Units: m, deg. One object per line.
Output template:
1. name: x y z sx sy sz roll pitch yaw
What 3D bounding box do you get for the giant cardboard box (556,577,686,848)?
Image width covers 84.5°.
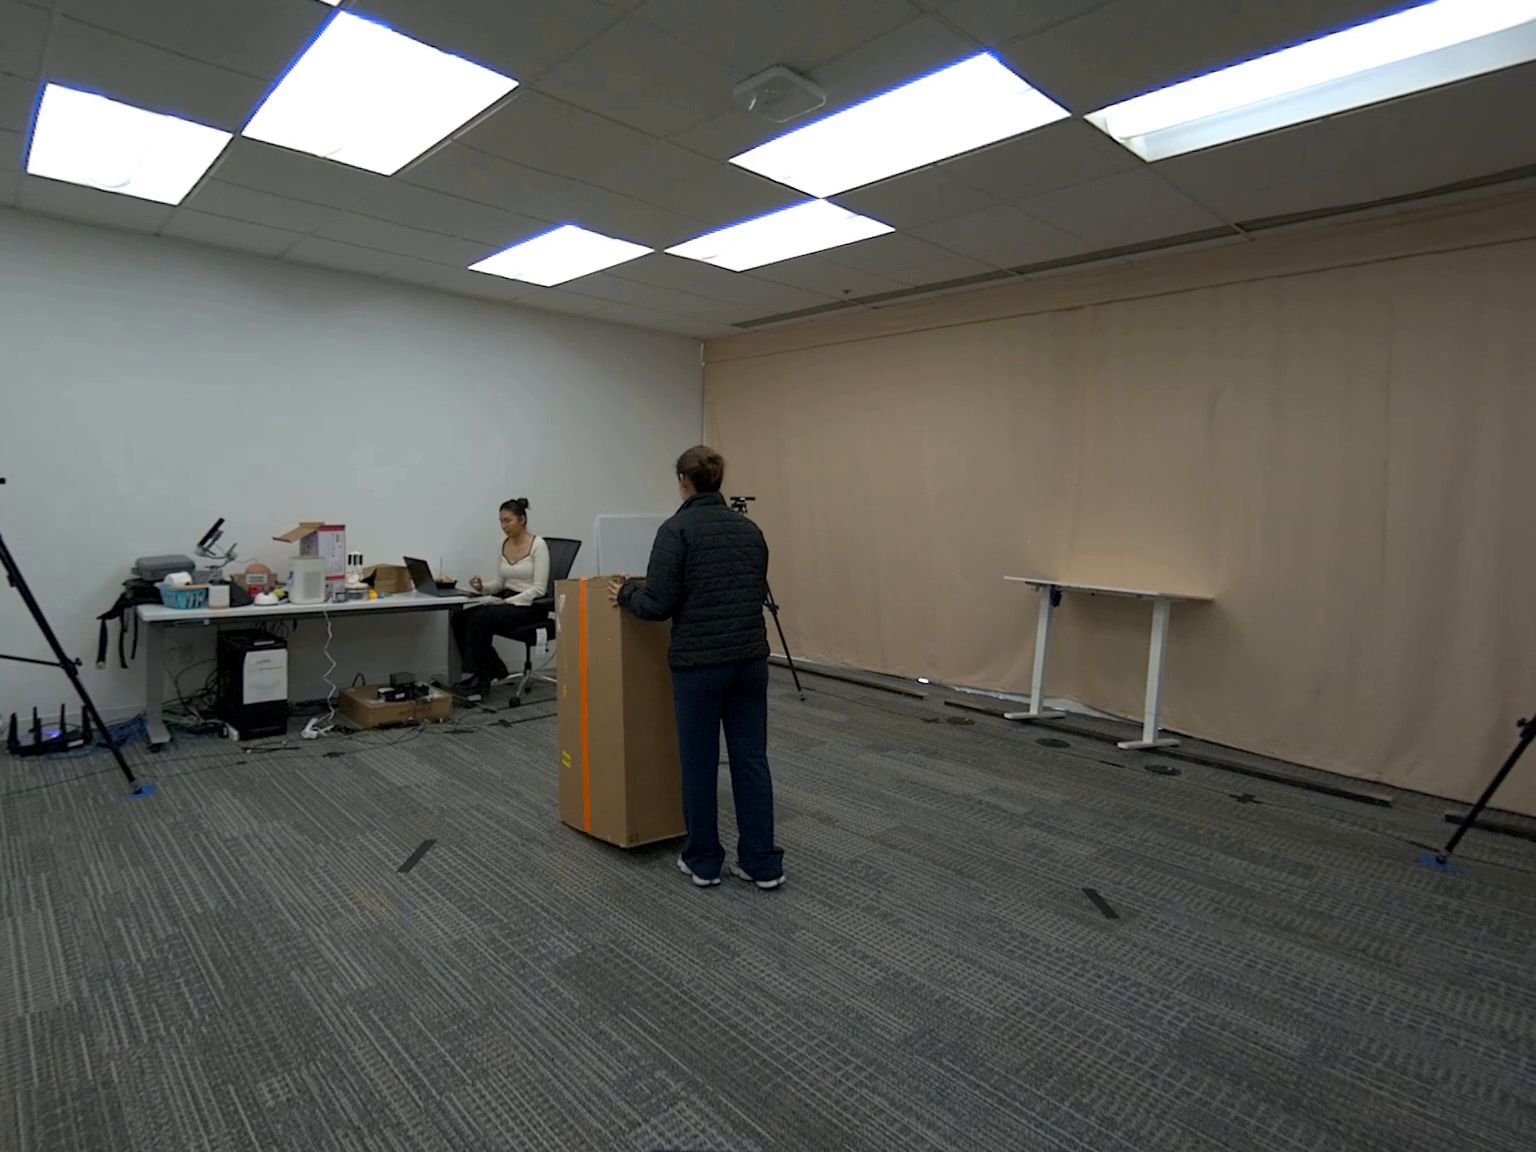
1. giant cardboard box: -0.572 0.523 3.502 0.416 1.029 0.589 0 -4 -37
